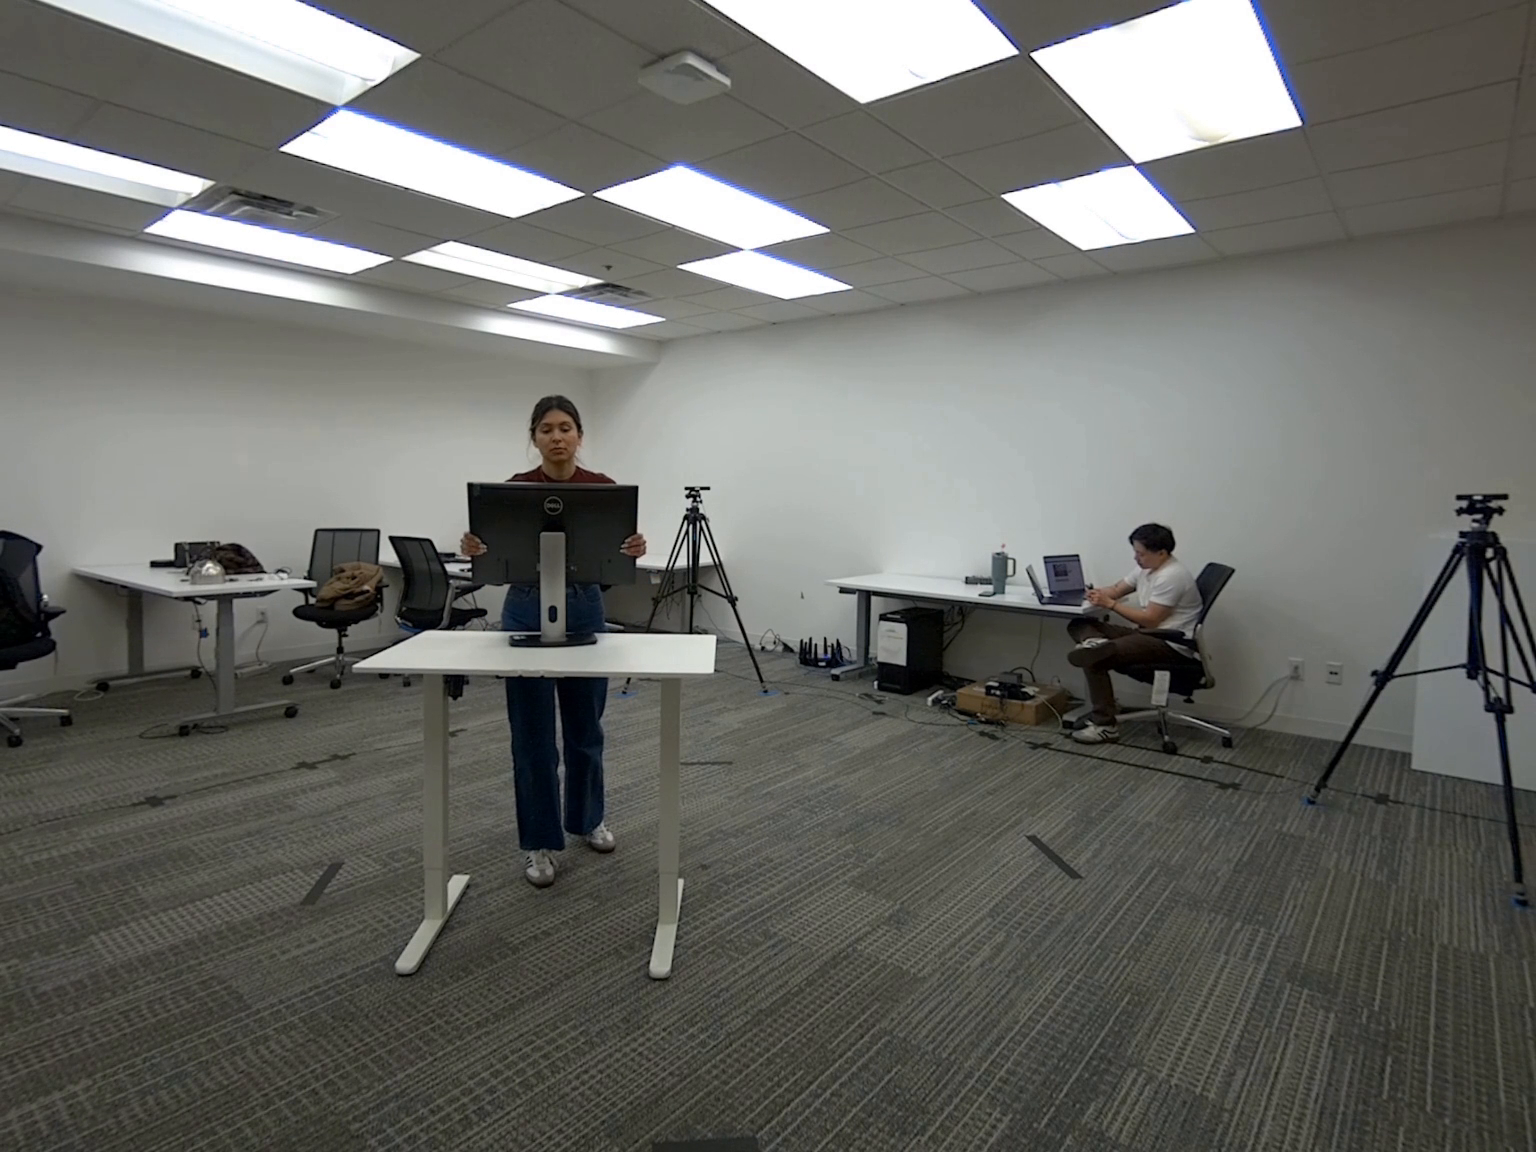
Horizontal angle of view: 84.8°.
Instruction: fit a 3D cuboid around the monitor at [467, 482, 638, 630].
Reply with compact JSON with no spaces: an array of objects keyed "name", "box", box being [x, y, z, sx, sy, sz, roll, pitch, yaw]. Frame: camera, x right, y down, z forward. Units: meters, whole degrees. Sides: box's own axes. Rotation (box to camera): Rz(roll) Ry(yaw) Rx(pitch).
[{"name":"monitor","box":[-0.704,-0.038,2.734,0.533,0.519,0.190,0,7,-10]}]
